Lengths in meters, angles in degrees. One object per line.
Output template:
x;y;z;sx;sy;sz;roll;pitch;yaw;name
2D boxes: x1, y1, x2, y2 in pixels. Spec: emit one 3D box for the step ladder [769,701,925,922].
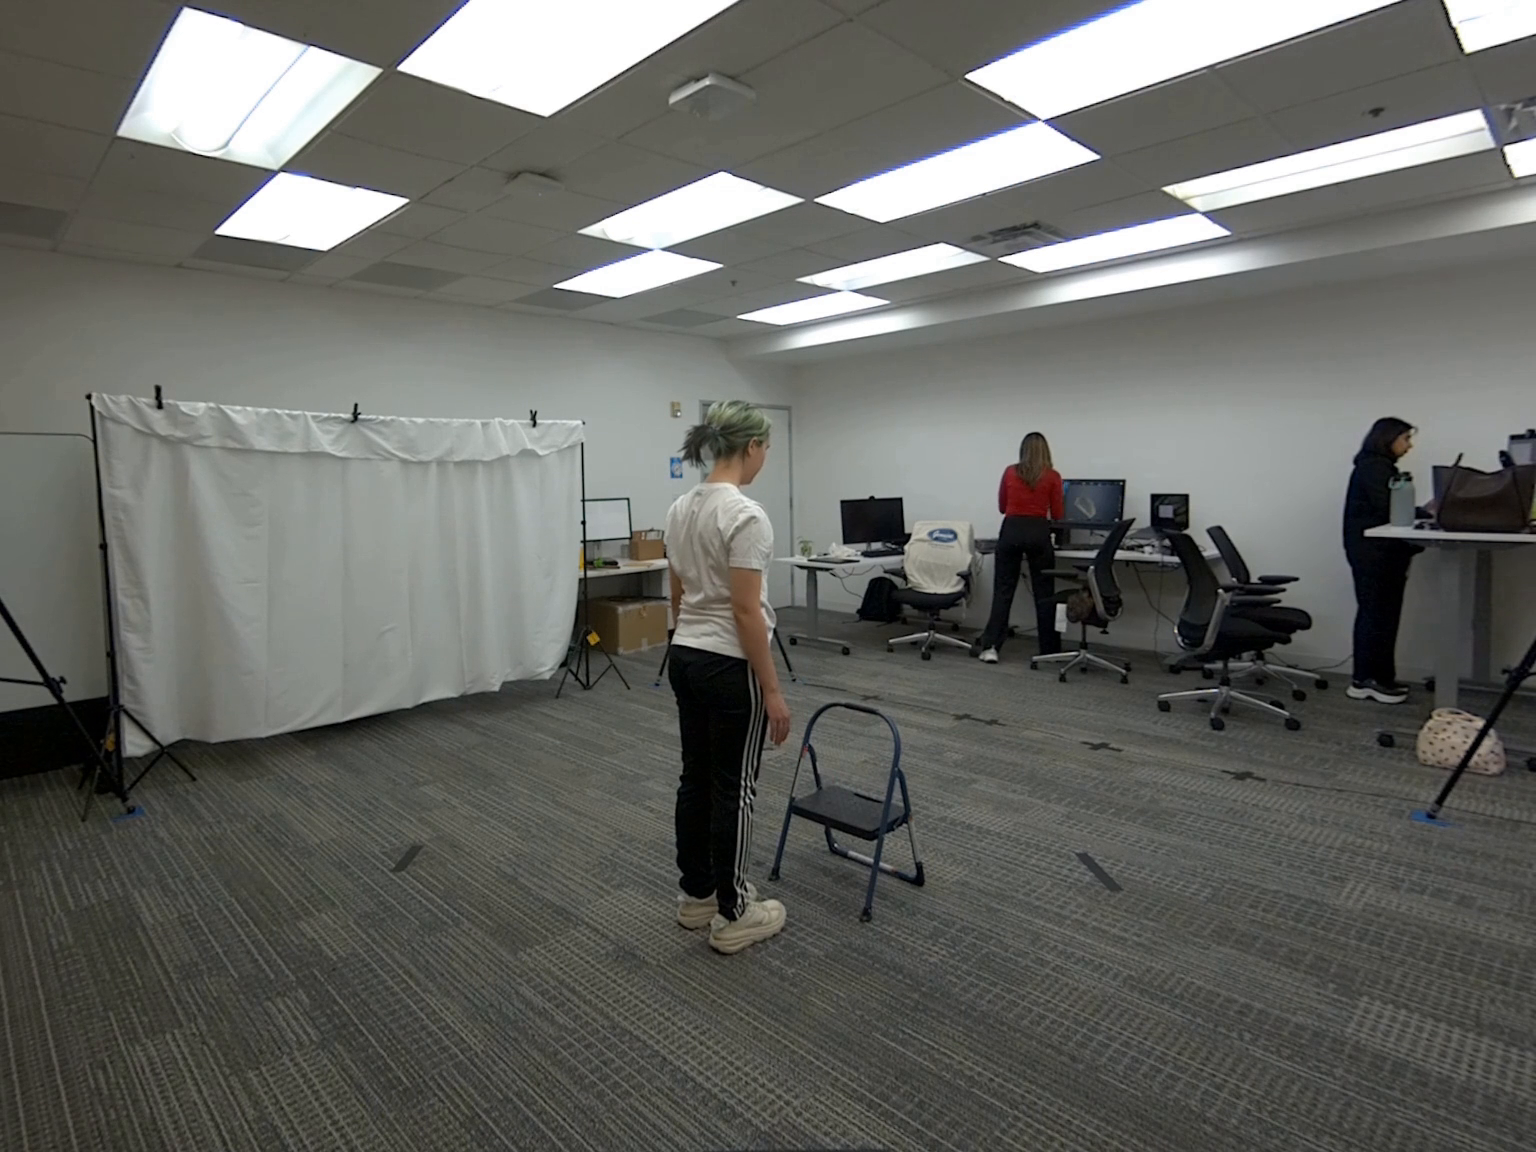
0.267;0.757;2.937;0.444;0.603;0.340;4;7;45;step ladder
